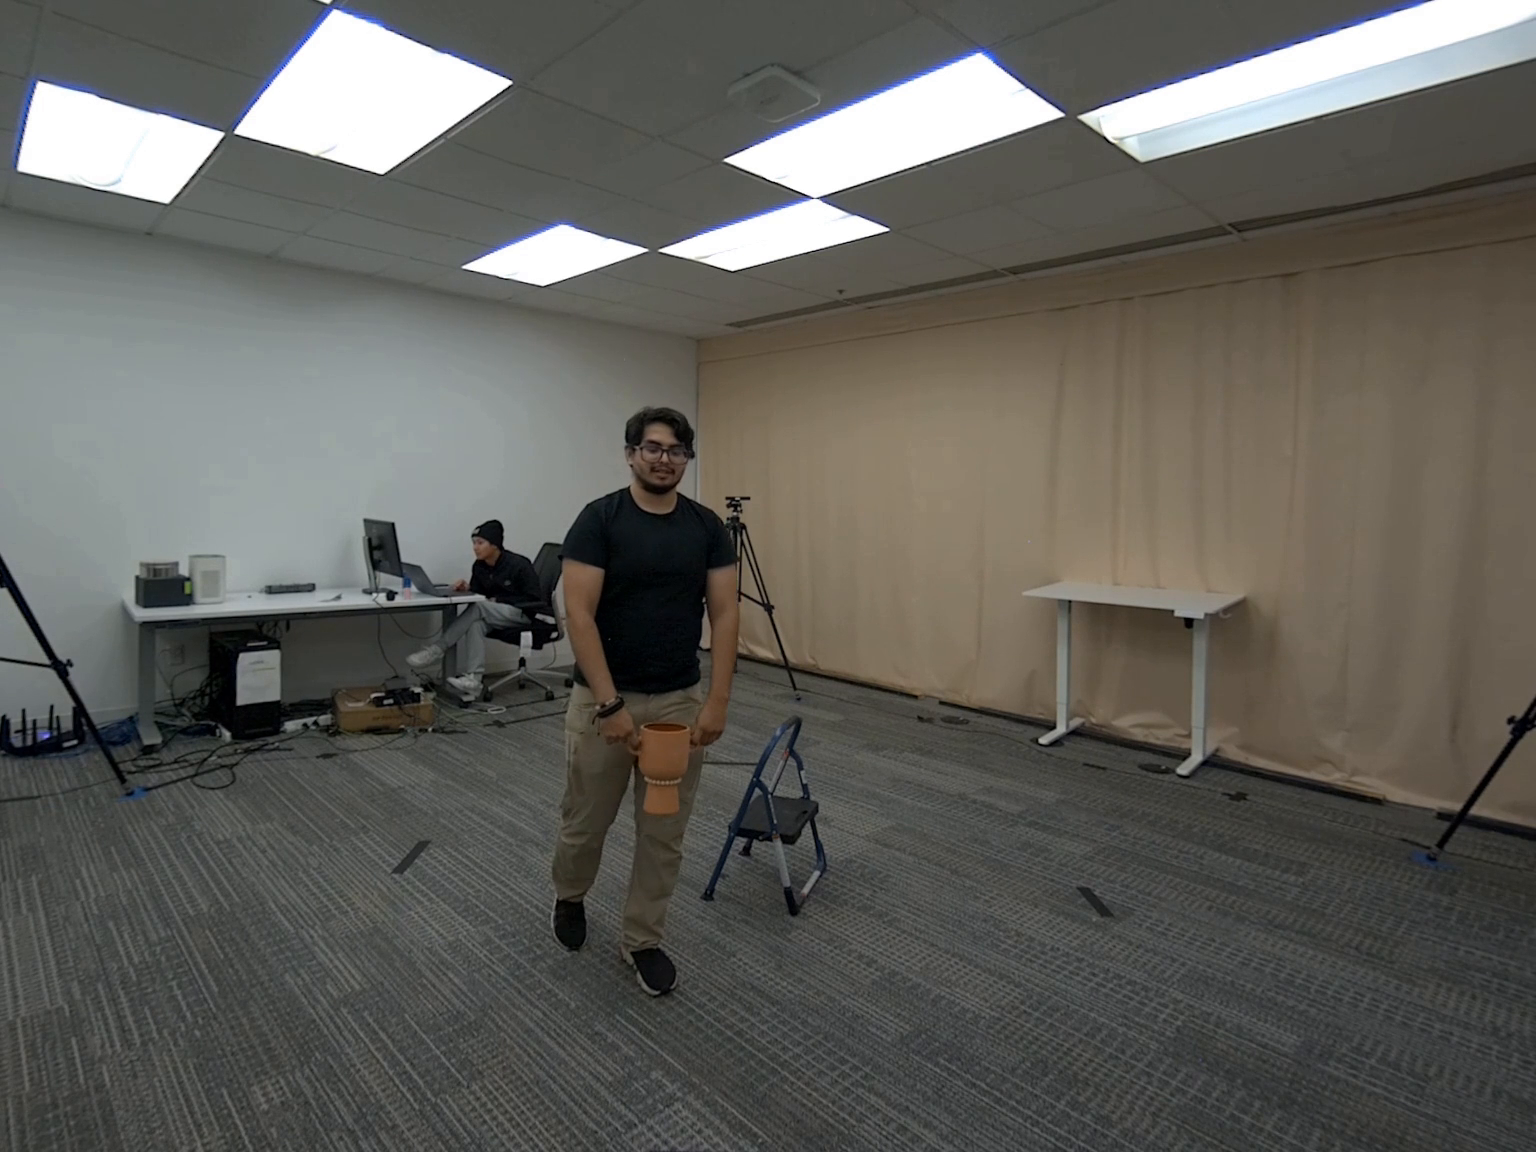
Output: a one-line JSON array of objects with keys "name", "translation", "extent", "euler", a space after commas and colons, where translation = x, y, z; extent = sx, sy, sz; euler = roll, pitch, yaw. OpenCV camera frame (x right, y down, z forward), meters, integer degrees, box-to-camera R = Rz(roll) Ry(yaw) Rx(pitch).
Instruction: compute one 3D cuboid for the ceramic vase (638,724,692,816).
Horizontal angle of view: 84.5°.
[{"name": "ceramic vase", "translation": [-0.301, 0.517, 2.239], "extent": [0.161, 0.220, 0.133], "euler": [3, 0, 16]}]
